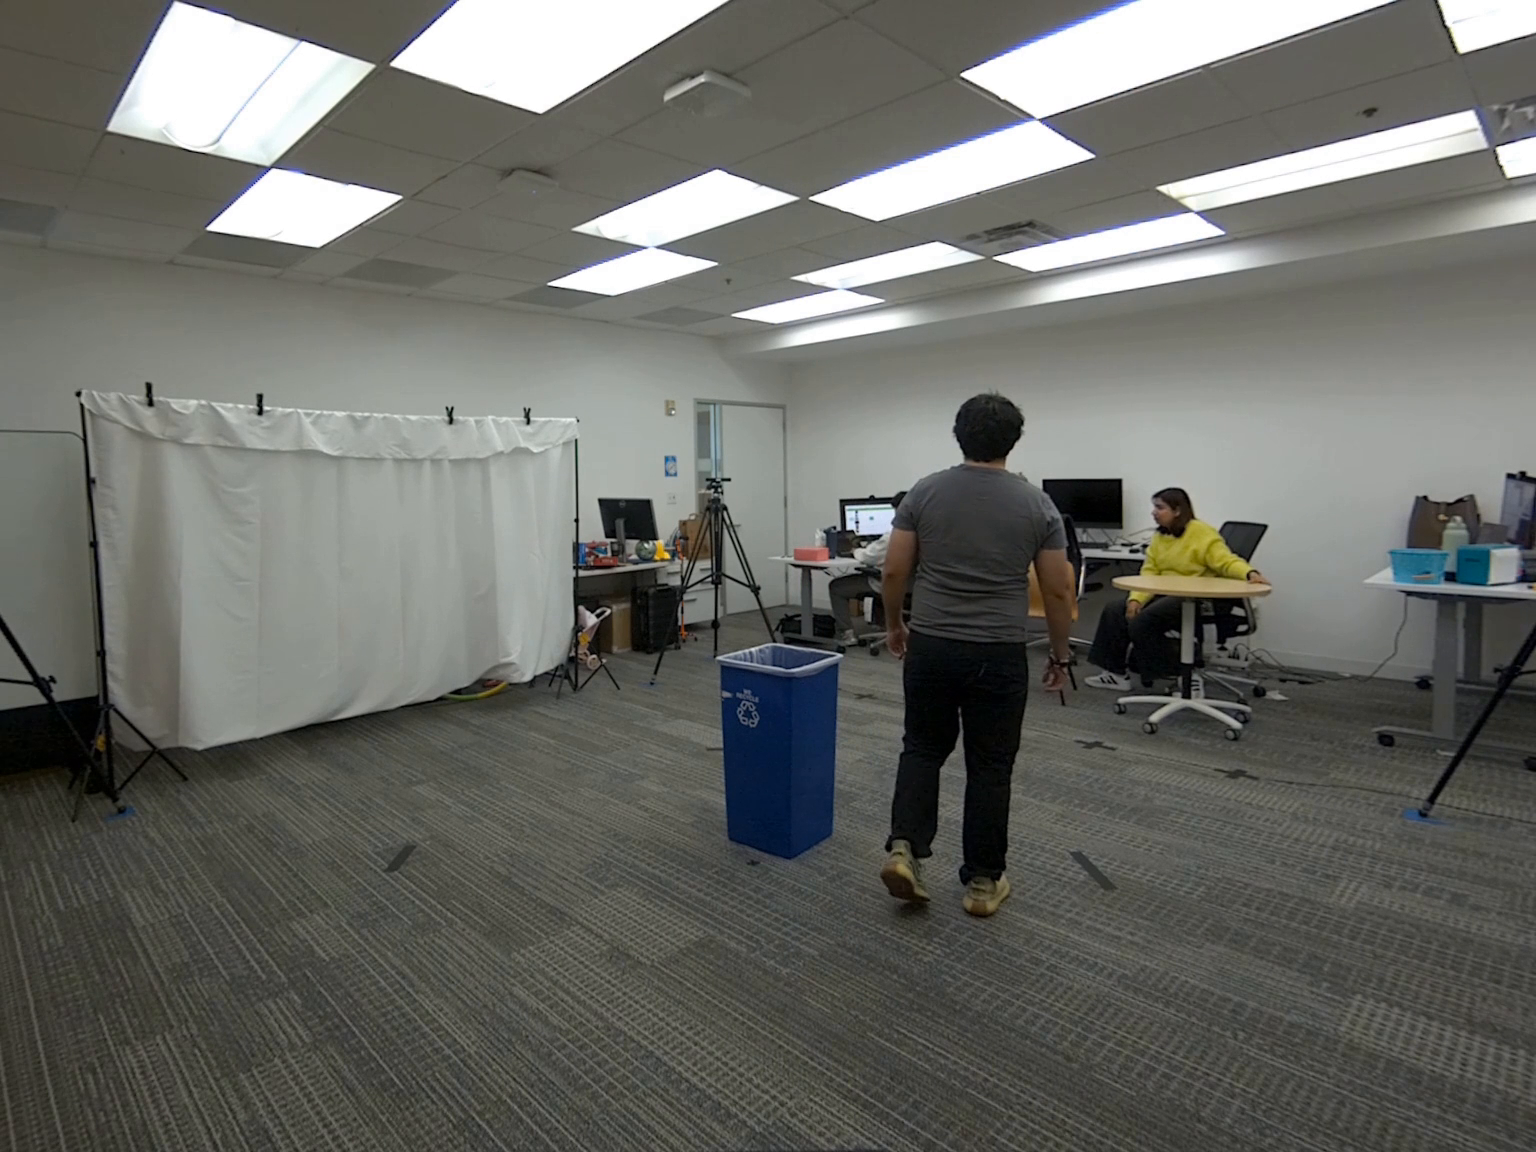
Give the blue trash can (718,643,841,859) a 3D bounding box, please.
[{"bbox_3d":[0.054,0.661,3.303,0.385,0.711,0.368,3,5,39],"label":"blue trash can"}]
